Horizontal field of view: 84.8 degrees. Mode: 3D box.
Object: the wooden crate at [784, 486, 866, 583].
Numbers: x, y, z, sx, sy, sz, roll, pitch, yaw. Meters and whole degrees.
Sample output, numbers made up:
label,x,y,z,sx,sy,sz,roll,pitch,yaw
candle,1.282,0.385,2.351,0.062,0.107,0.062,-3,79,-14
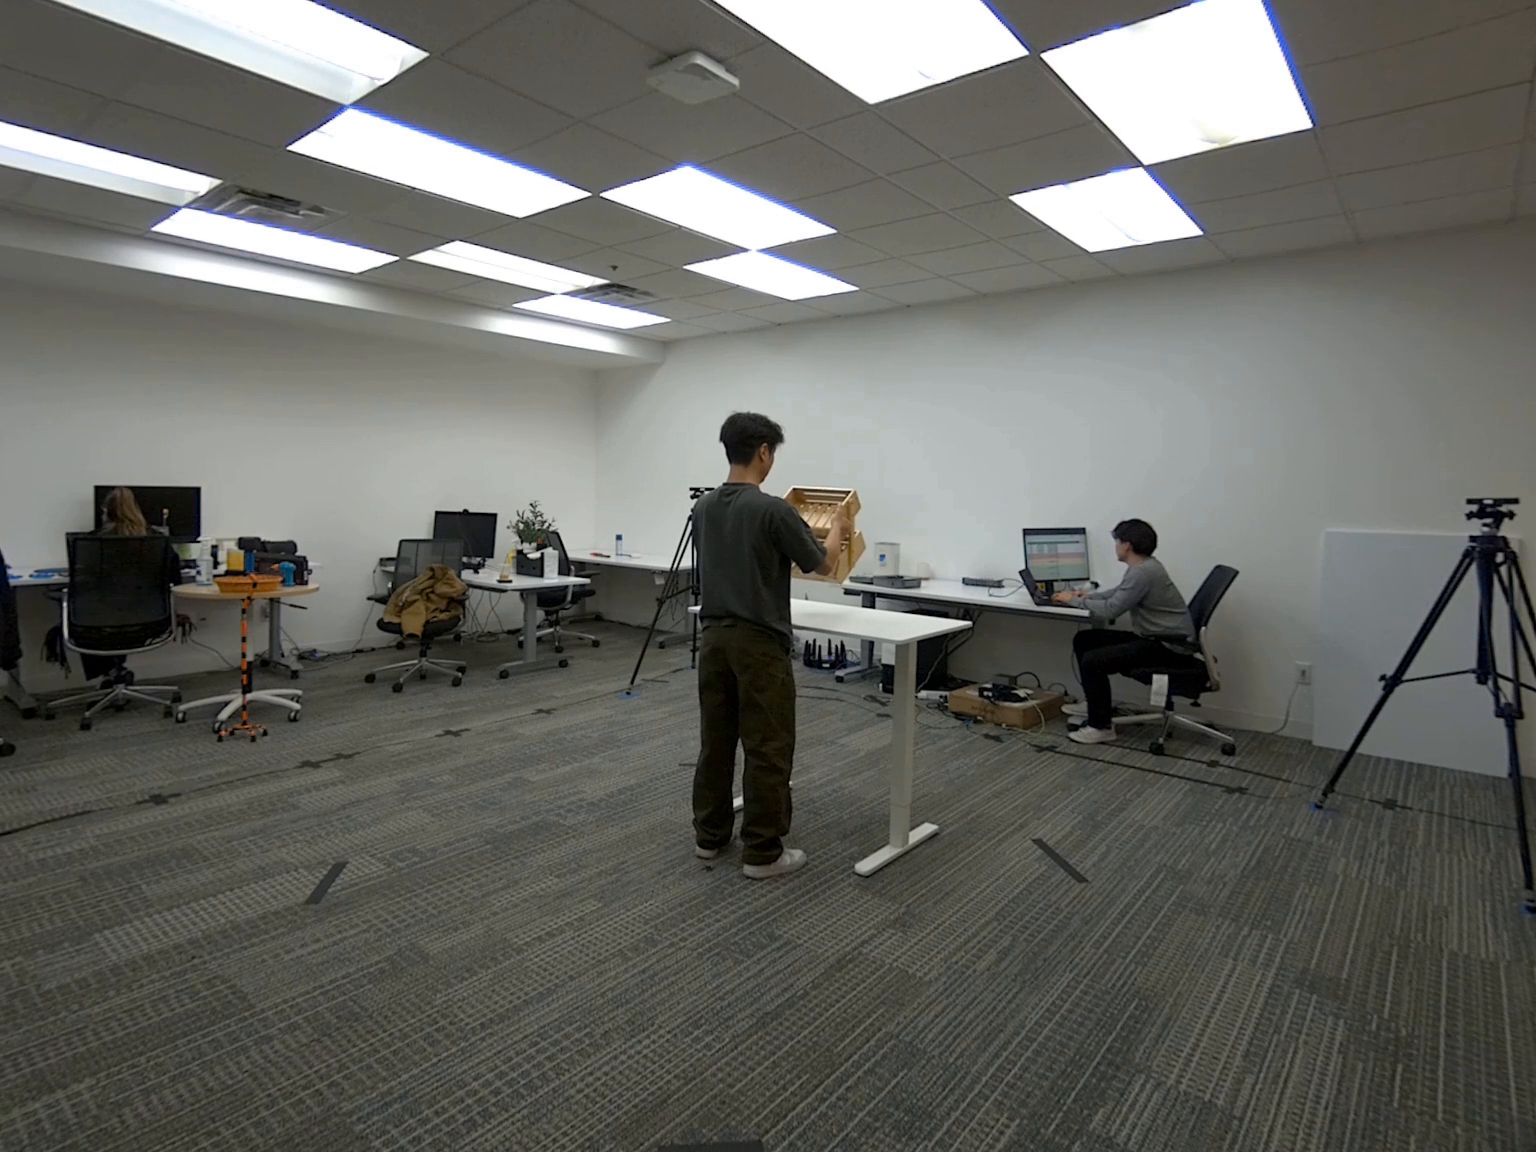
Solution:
label,x,y,z,sx,sy,sz,roll,pitch,yaw
wooden crate,0.180,-0.170,3.441,0.335,0.264,0.303,7,44,36
